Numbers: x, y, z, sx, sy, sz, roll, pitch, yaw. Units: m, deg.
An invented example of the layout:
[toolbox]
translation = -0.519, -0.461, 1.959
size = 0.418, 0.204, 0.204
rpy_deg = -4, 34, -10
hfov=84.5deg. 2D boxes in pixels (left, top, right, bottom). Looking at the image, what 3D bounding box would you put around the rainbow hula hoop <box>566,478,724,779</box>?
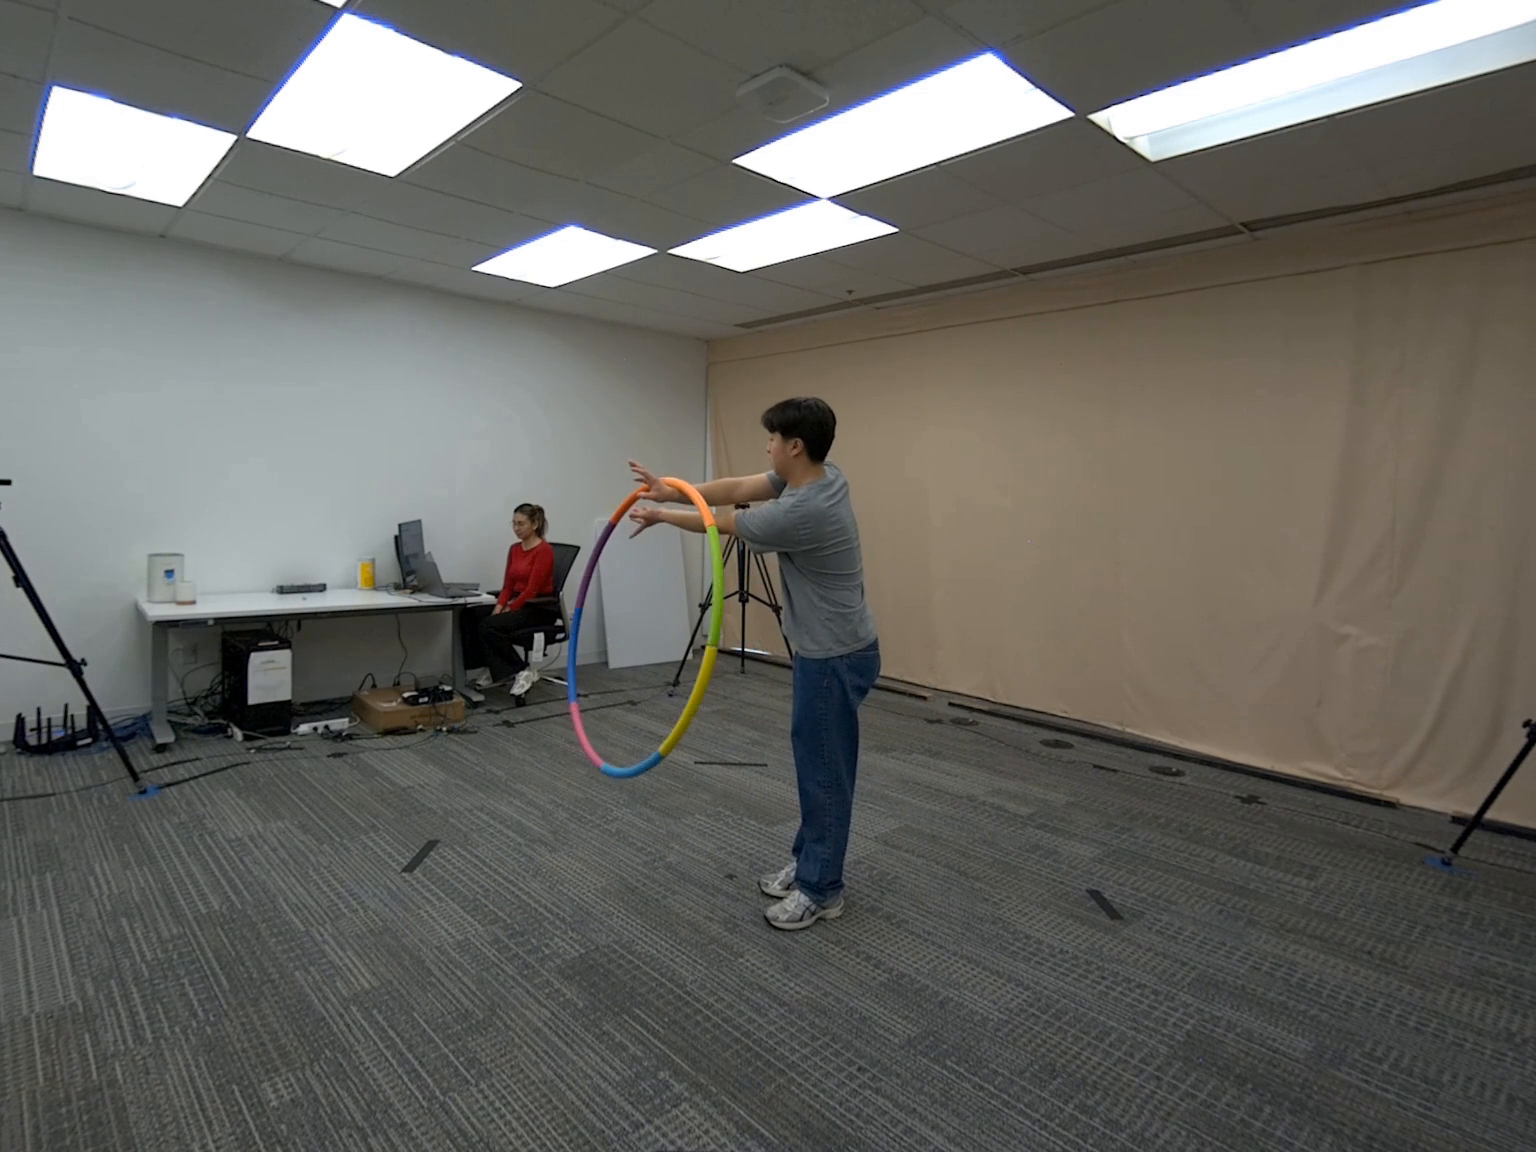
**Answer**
[rainbow hula hoop]
translation = -0.439, 0.158, 2.793
size = 0.034, 0.980, 1.003
rpy_deg = 14, -4, -35
